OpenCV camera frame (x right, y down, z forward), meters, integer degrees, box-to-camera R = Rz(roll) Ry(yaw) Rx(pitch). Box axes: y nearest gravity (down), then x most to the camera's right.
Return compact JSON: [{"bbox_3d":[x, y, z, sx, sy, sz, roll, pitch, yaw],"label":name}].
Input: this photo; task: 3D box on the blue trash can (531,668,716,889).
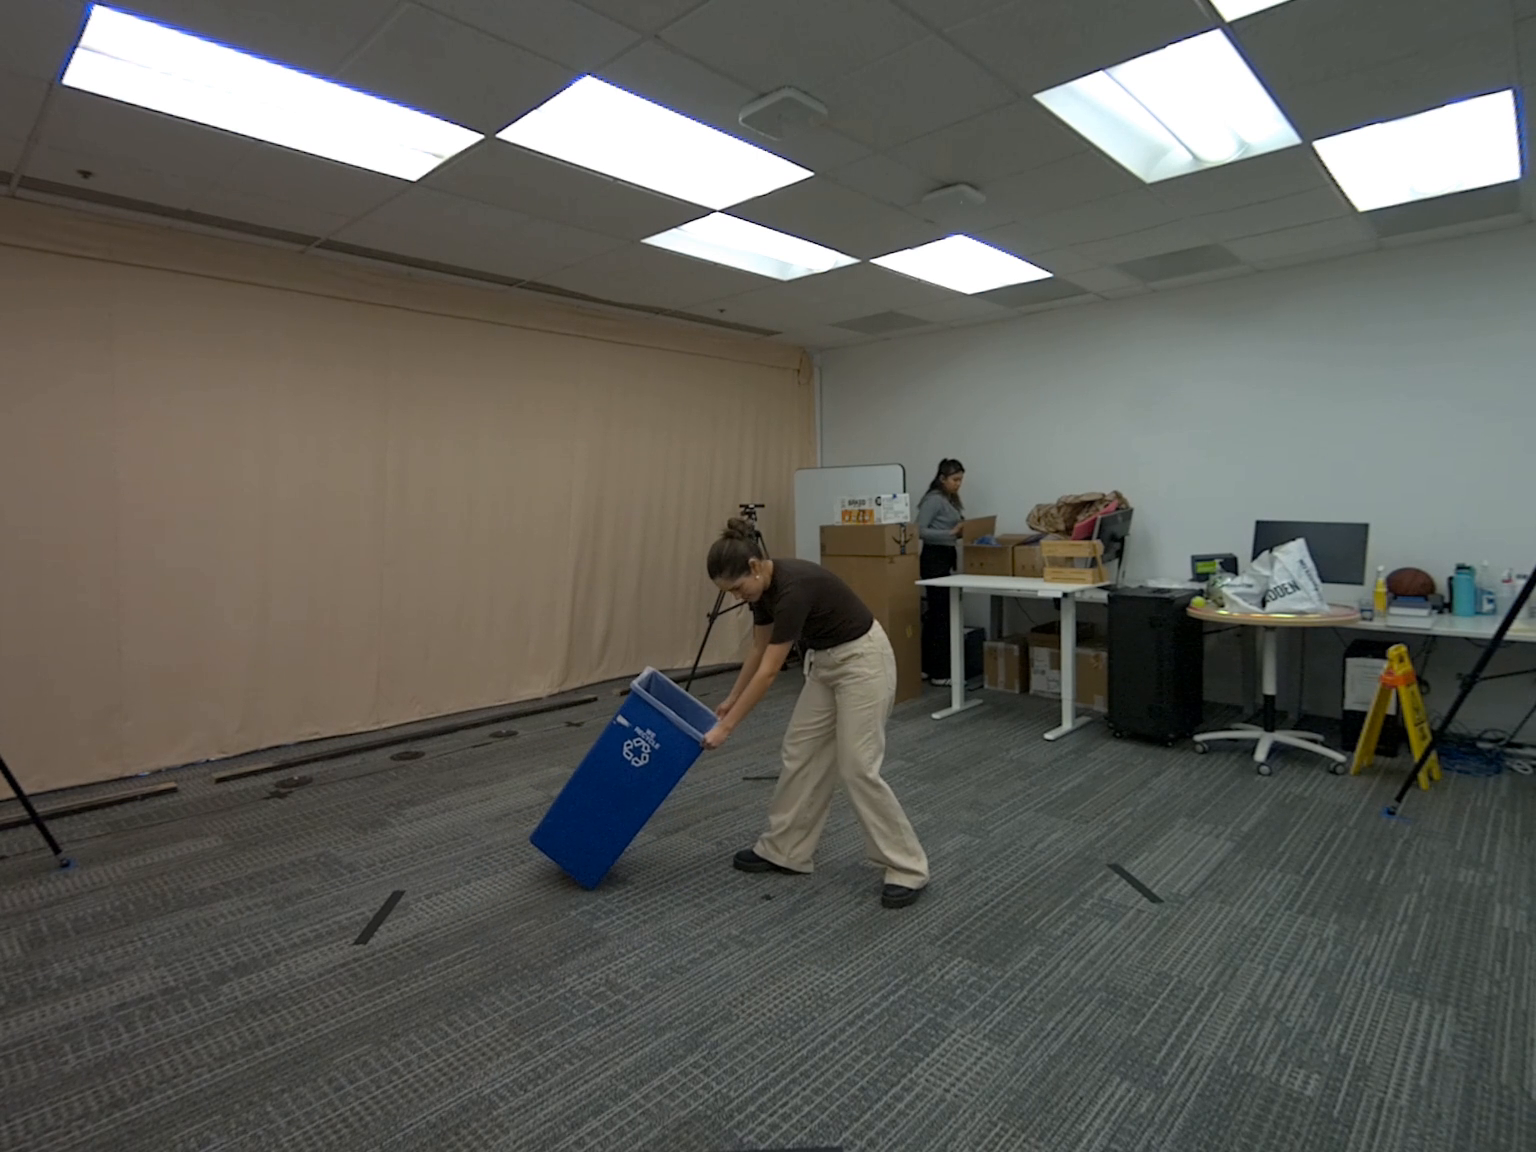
[{"bbox_3d":[-0.523,0.769,3.169,0.375,0.714,0.377,36,5,1],"label":"blue trash can"}]
